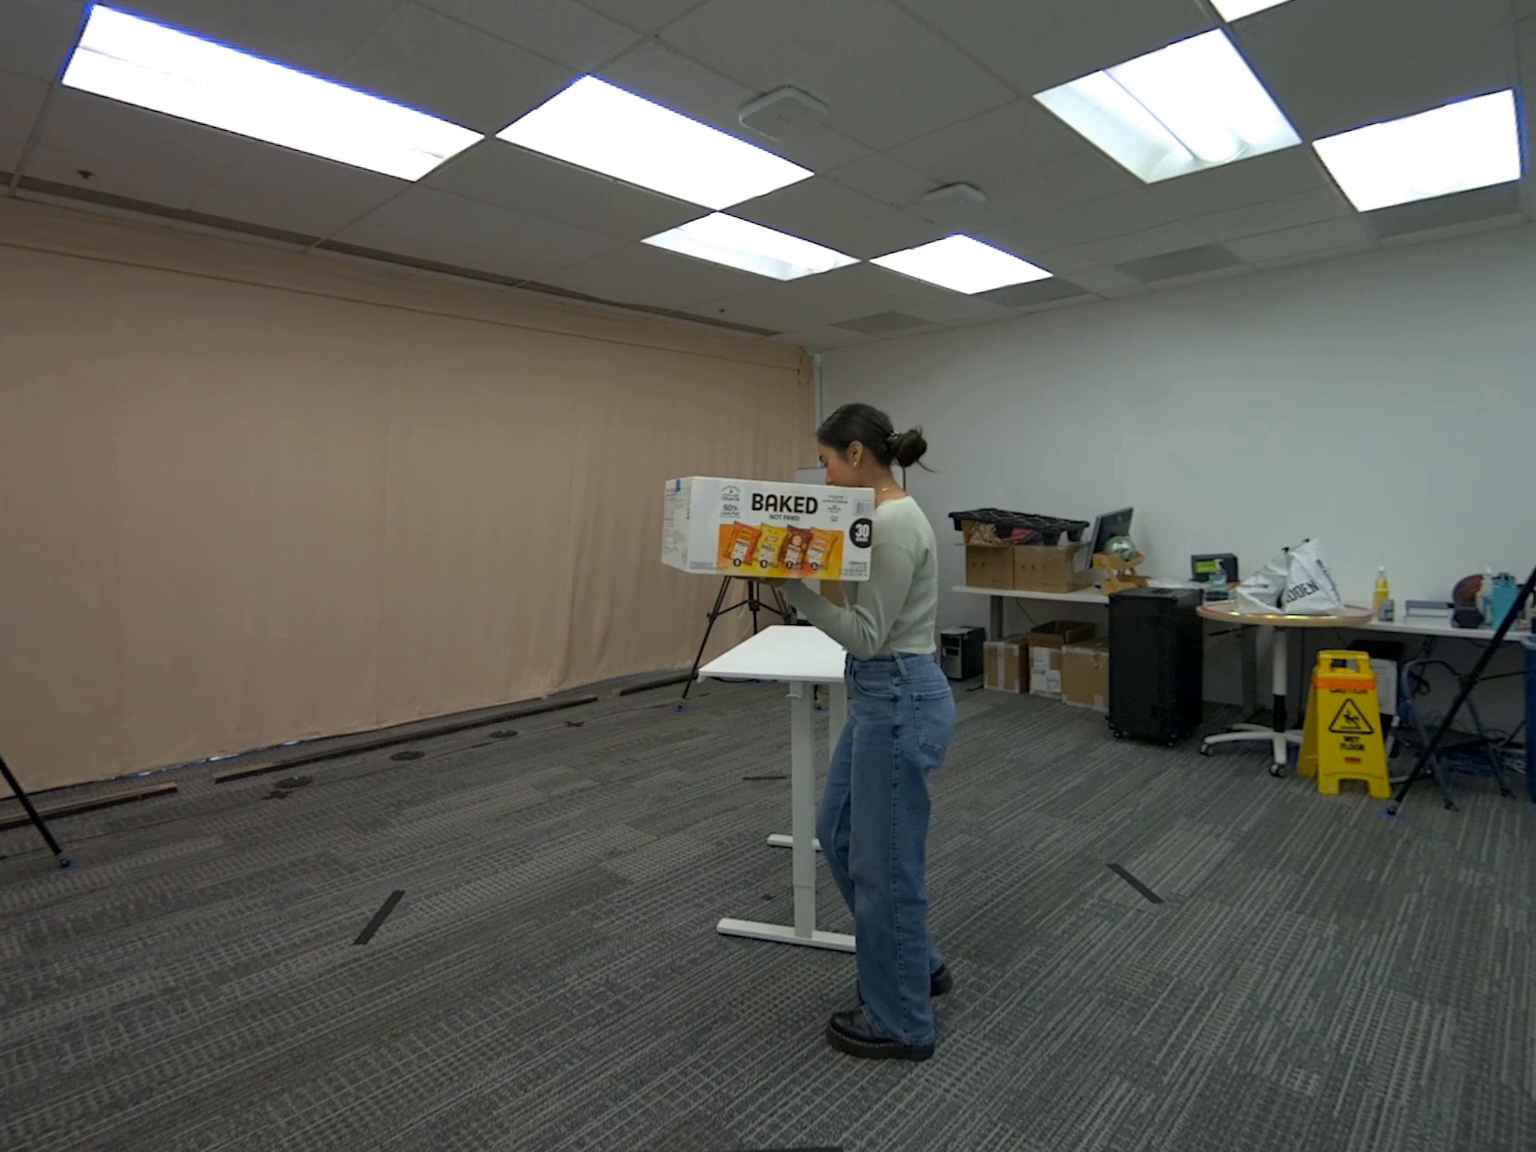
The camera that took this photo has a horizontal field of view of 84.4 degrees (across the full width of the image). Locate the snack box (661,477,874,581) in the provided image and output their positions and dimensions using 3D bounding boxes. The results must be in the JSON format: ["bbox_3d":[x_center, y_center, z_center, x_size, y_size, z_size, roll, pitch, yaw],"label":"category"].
[{"bbox_3d":[-0.011,-0.111,1.930,0.399,0.205,0.346,2,3,-14],"label":"snack box"}]
